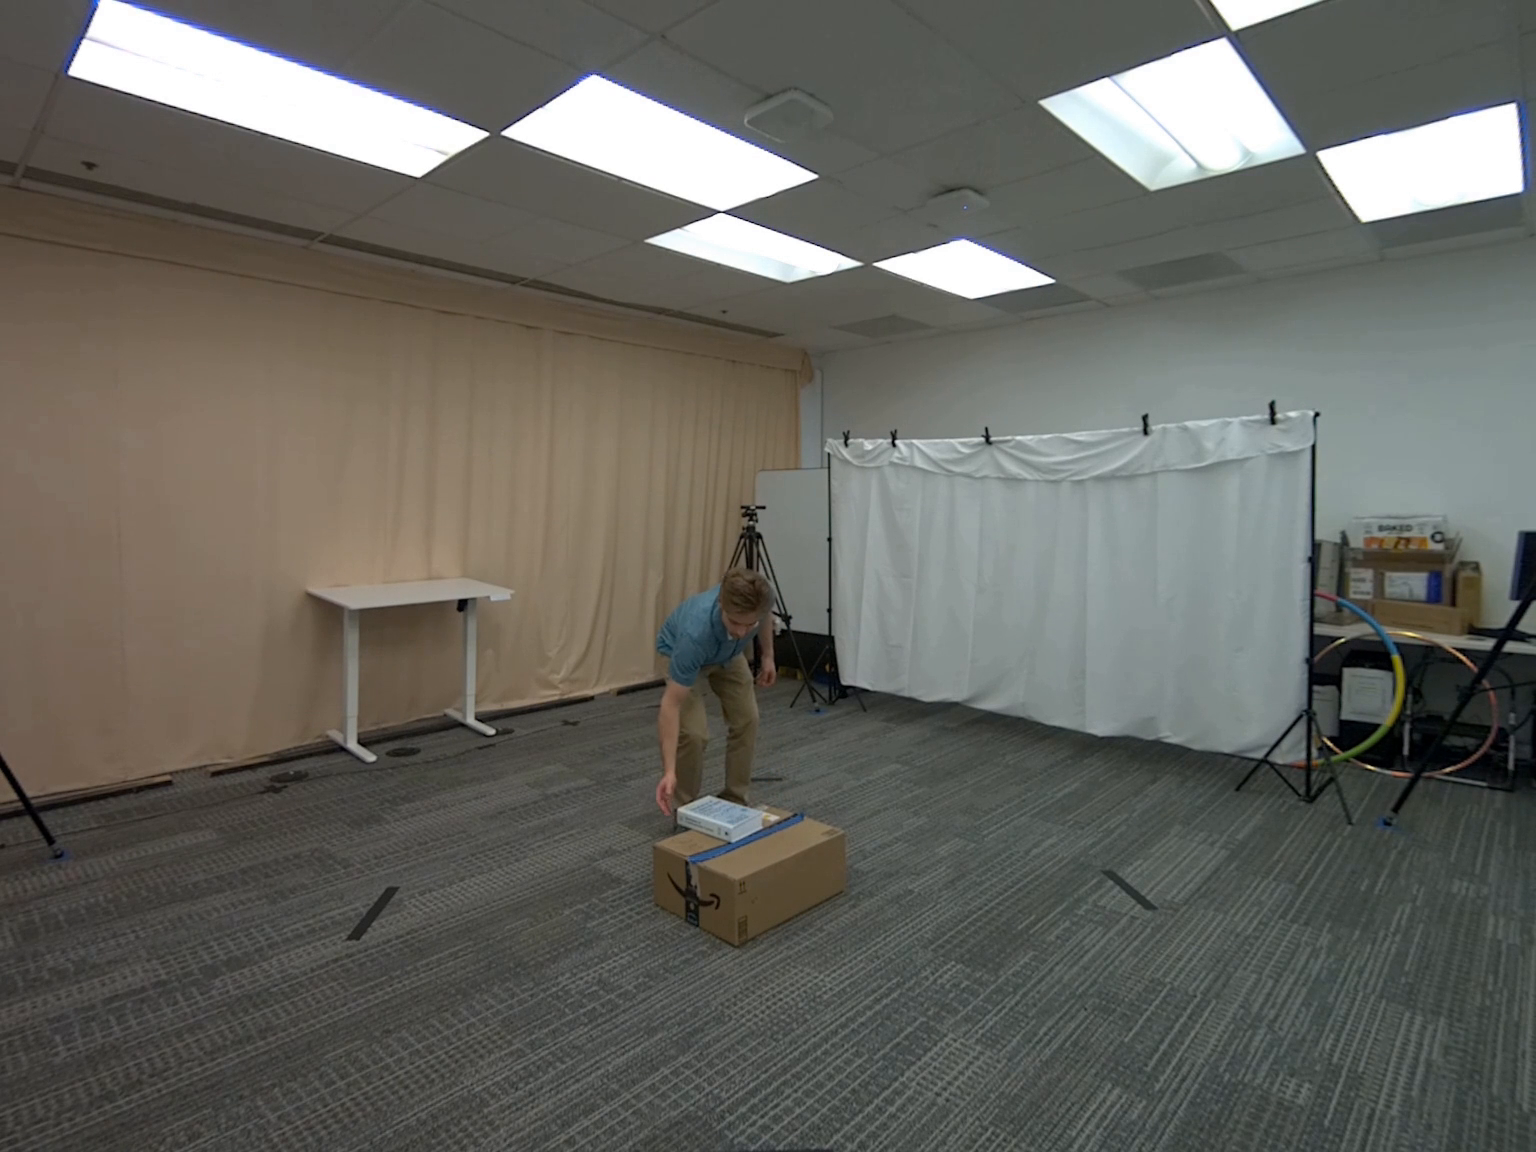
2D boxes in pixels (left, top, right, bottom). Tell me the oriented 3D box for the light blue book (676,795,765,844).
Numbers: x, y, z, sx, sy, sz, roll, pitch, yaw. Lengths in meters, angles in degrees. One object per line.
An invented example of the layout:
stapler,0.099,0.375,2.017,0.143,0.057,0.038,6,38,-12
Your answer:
light blue book,-0.172,0.885,3.103,0.269,0.059,0.186,5,7,37
